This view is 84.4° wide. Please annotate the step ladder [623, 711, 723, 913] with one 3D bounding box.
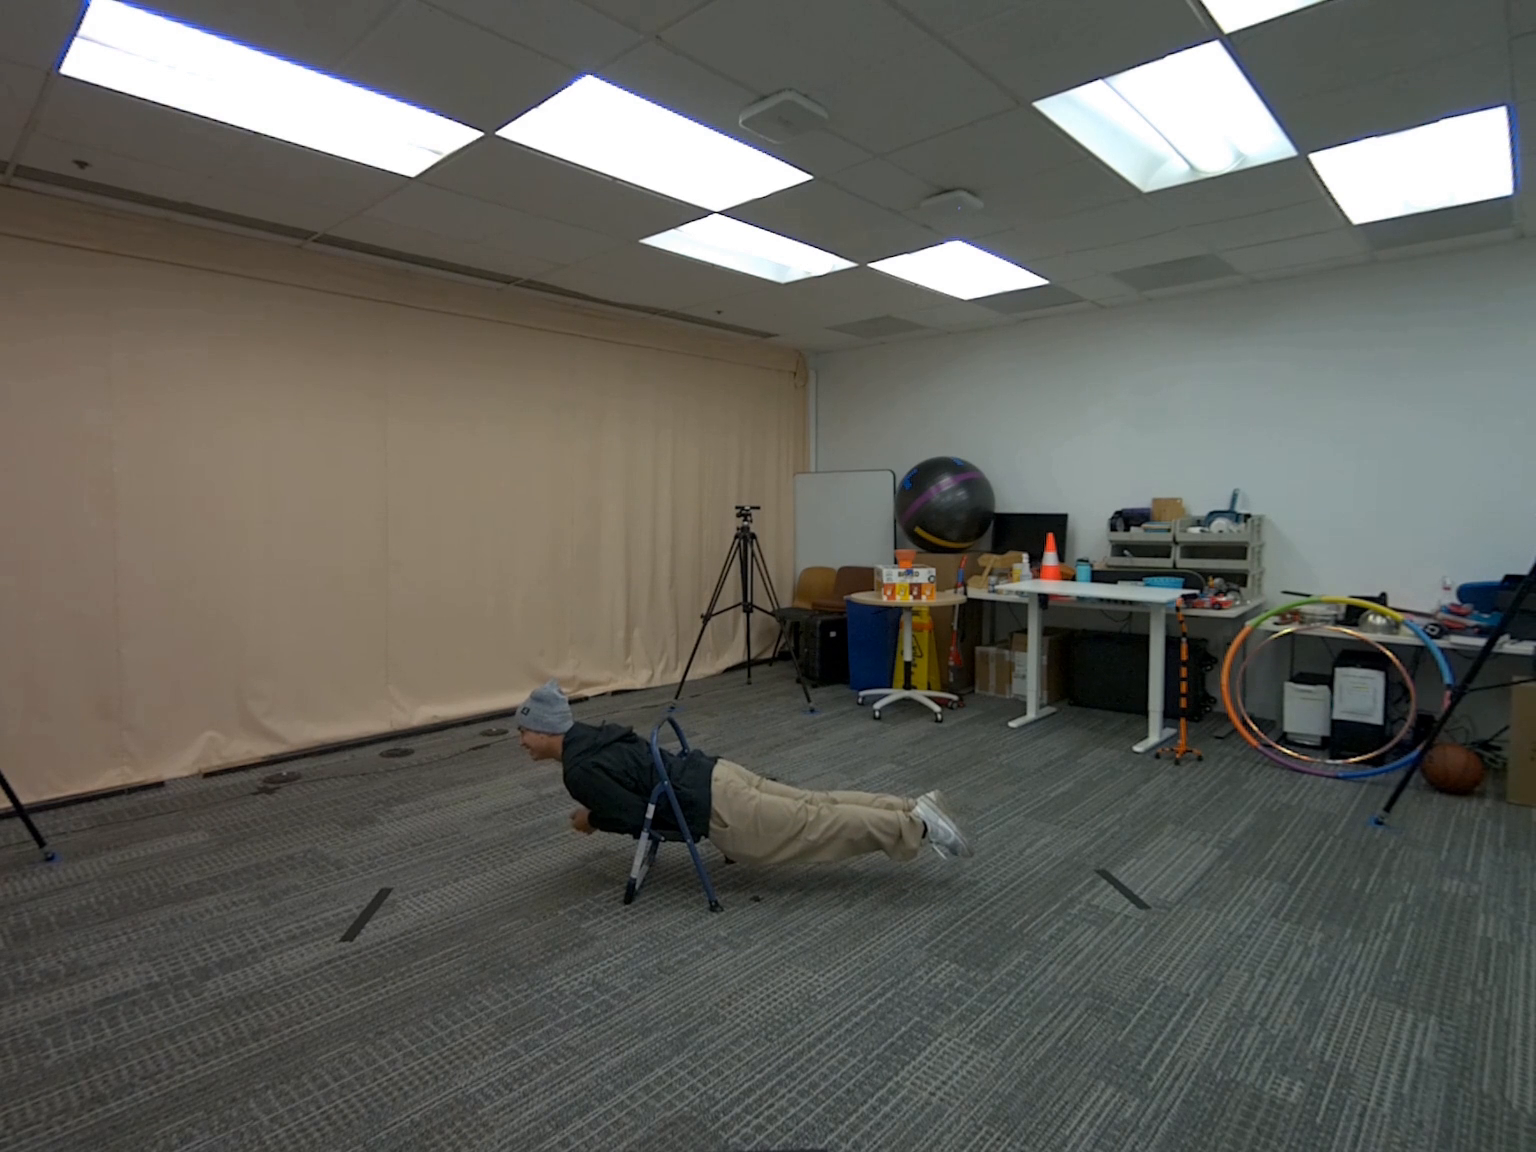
[{"bbox_3d":[-0.320,0.845,3.103,0.352,0.605,0.428,0,4,5],"label":"step ladder"}]
